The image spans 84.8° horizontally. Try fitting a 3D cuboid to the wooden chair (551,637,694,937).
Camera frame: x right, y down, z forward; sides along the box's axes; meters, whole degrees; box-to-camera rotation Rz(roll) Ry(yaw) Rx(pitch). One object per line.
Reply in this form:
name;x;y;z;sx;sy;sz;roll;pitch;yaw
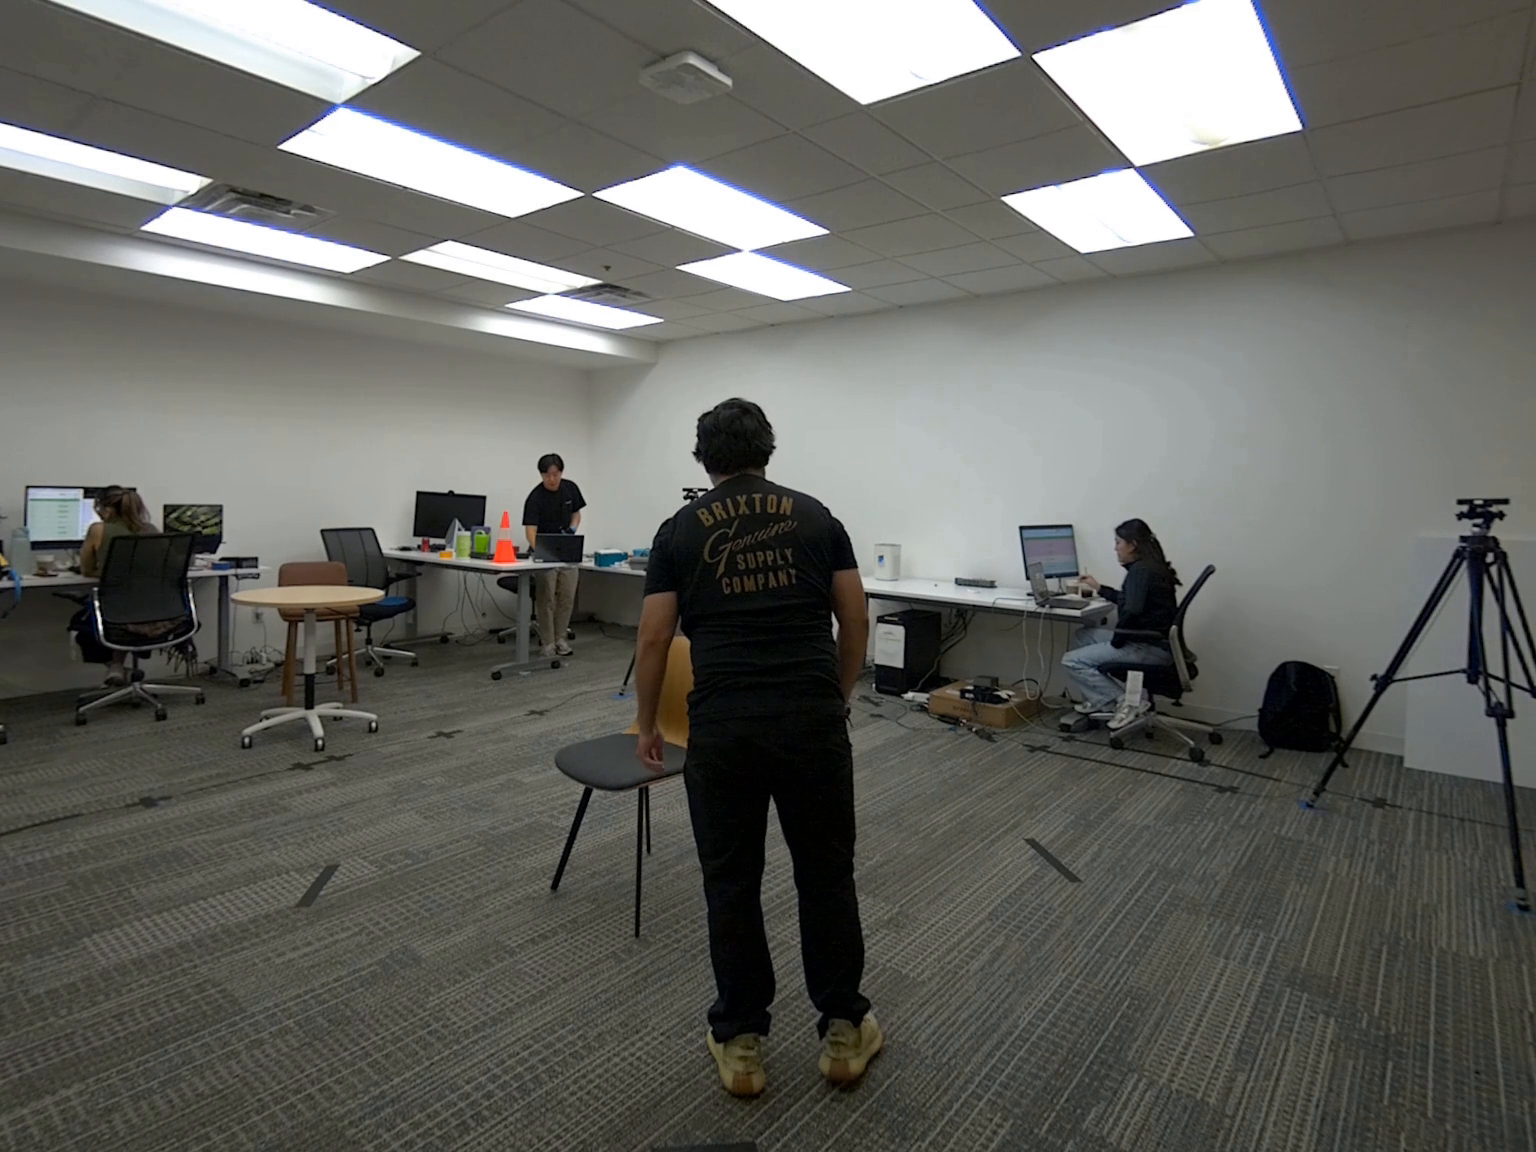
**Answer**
wooden chair;-0.439;0.659;2.902;0.494;0.878;0.506;4;0;42
